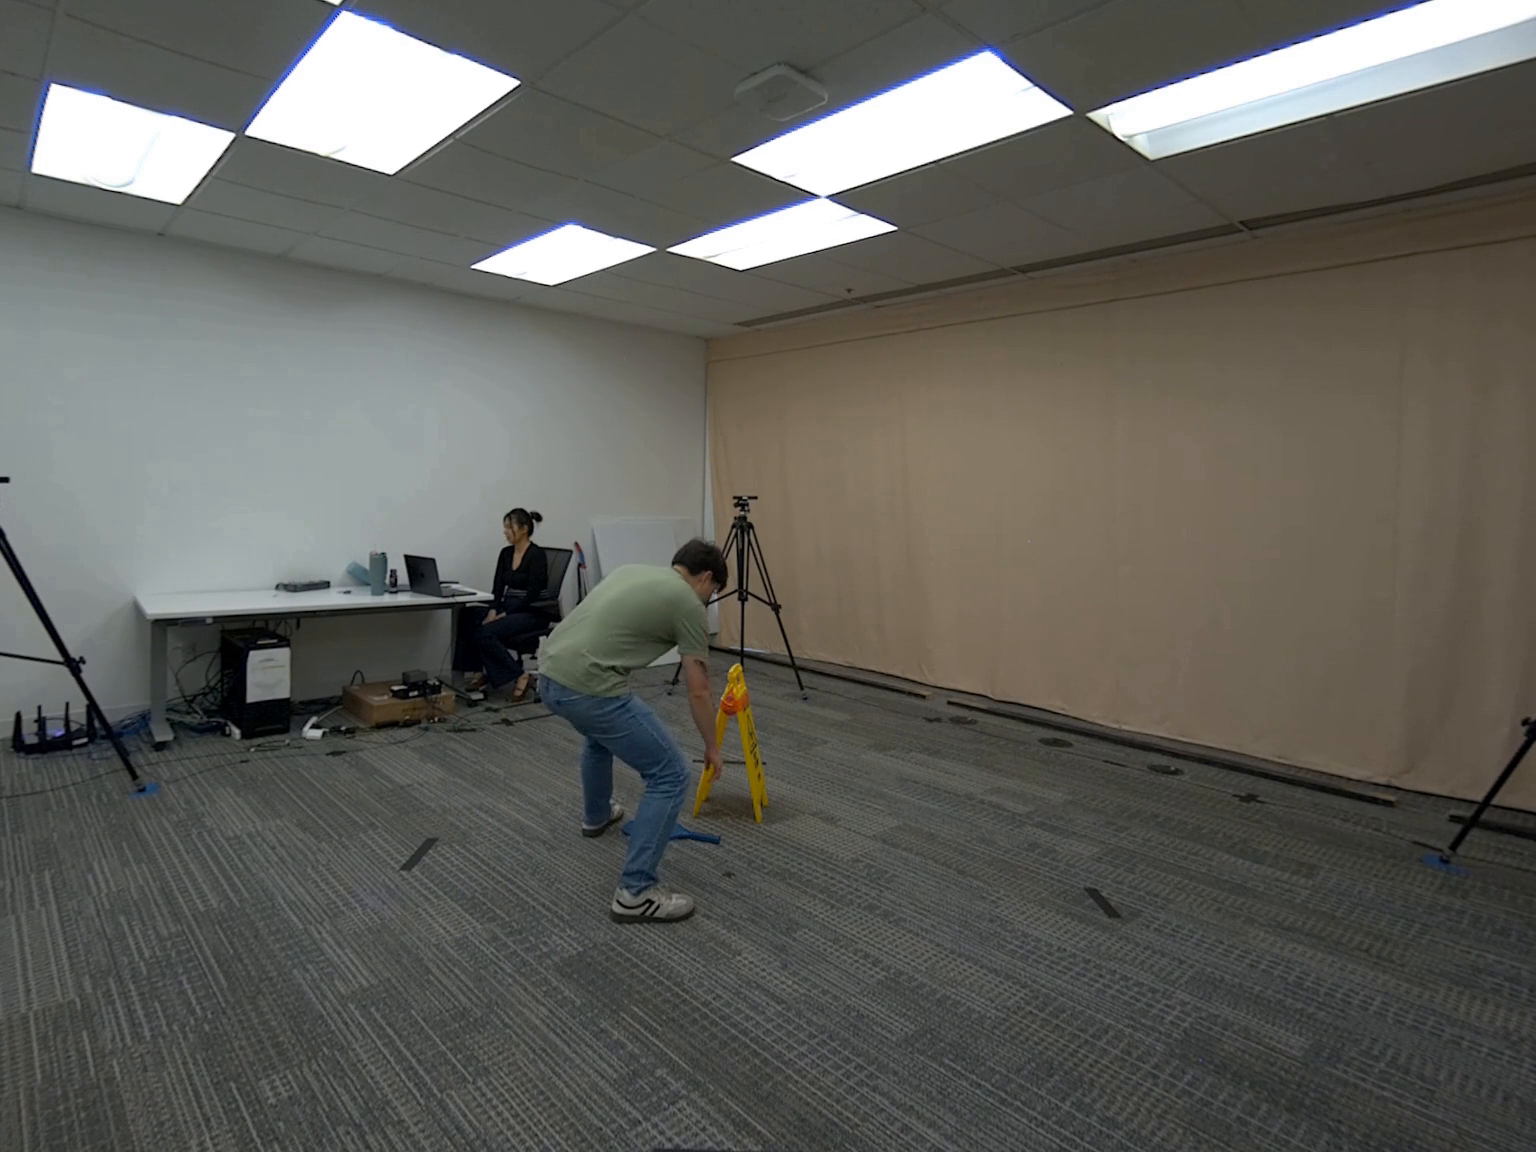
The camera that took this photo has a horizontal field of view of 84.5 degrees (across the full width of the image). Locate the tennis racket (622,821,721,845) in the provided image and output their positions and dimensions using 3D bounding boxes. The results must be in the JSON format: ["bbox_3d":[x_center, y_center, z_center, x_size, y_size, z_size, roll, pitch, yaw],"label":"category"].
[{"bbox_3d":[-0.402,1.056,3.462,0.440,0.031,0.211,2,5,20],"label":"tennis racket"}]
